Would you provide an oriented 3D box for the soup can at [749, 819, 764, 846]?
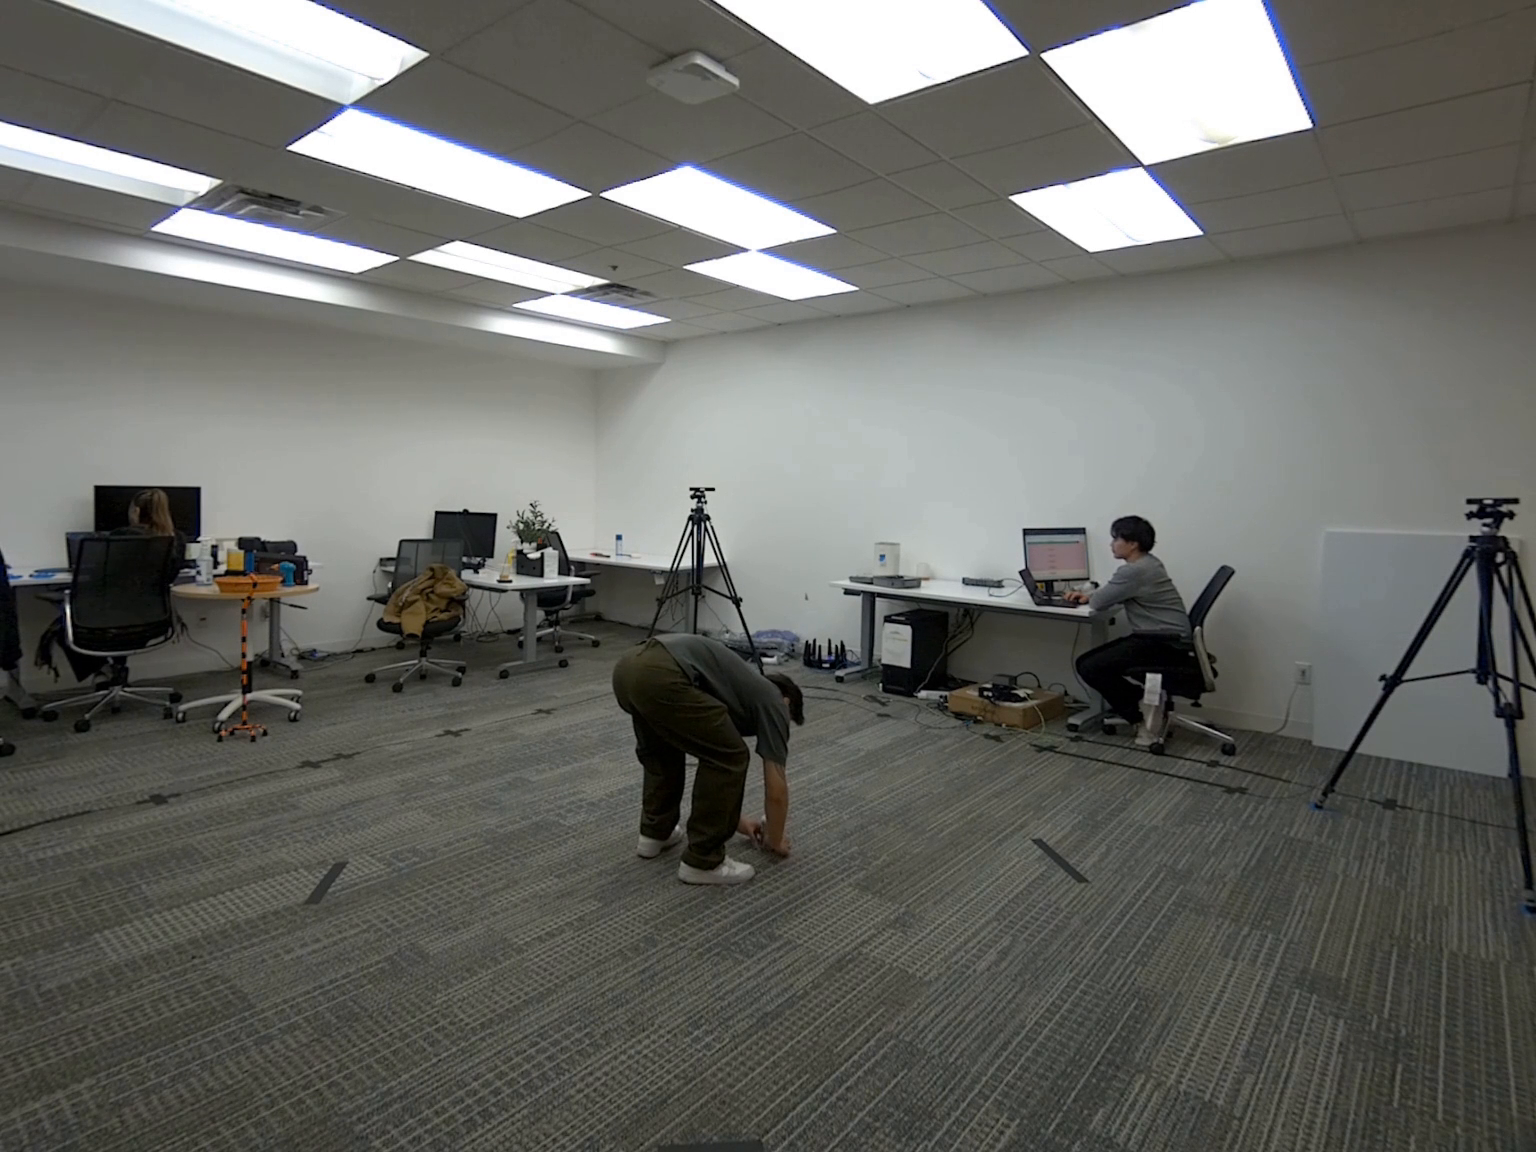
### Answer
[{"bbox_3d":[-0.005,0.992,3.291,0.067,0.121,0.067,0,4,-2],"label":"soup can"}]
